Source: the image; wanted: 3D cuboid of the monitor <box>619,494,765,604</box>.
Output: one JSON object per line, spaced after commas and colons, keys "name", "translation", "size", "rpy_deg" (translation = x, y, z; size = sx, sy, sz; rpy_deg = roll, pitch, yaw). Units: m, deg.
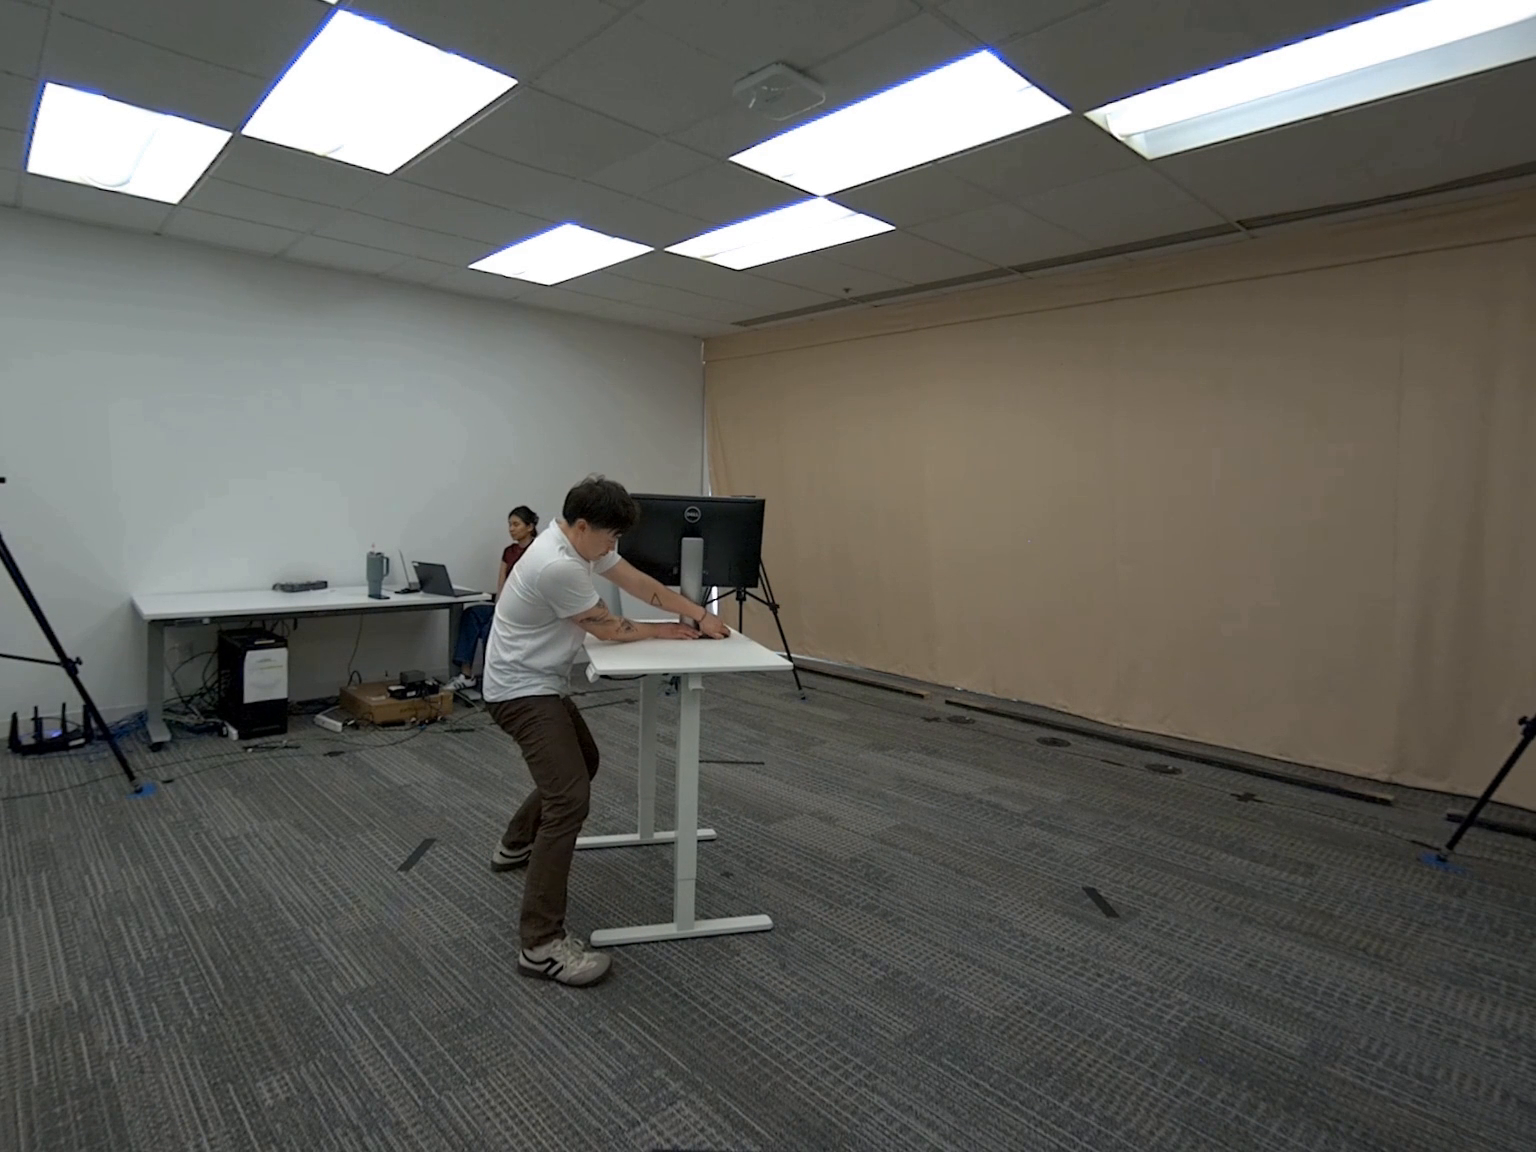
{"name": "monitor", "translation": [-0.290, -0.034, 3.079], "size": [0.534, 0.521, 0.189], "rpy_deg": [1, 5, -11]}
